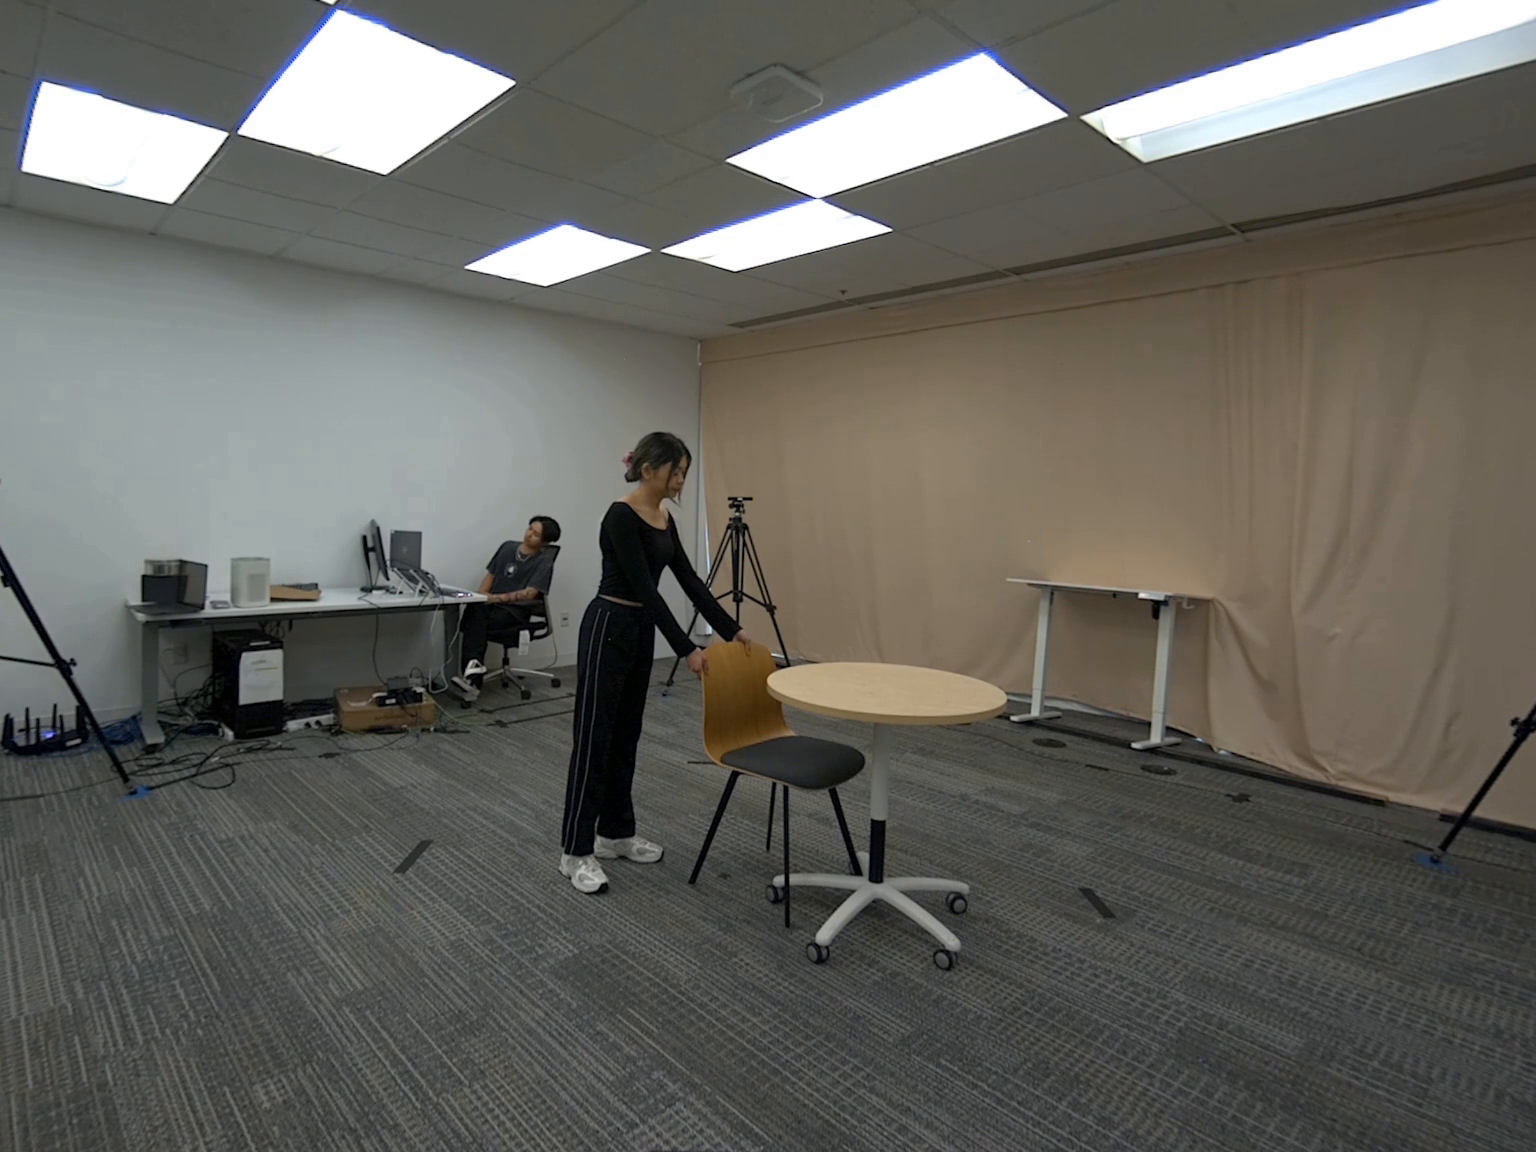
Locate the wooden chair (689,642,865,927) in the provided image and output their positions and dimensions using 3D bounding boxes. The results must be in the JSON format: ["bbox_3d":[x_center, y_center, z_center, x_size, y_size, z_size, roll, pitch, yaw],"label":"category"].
[{"bbox_3d":[0.039,0.688,3.017,0.535,0.878,0.467,-2,0,41],"label":"wooden chair"}]
